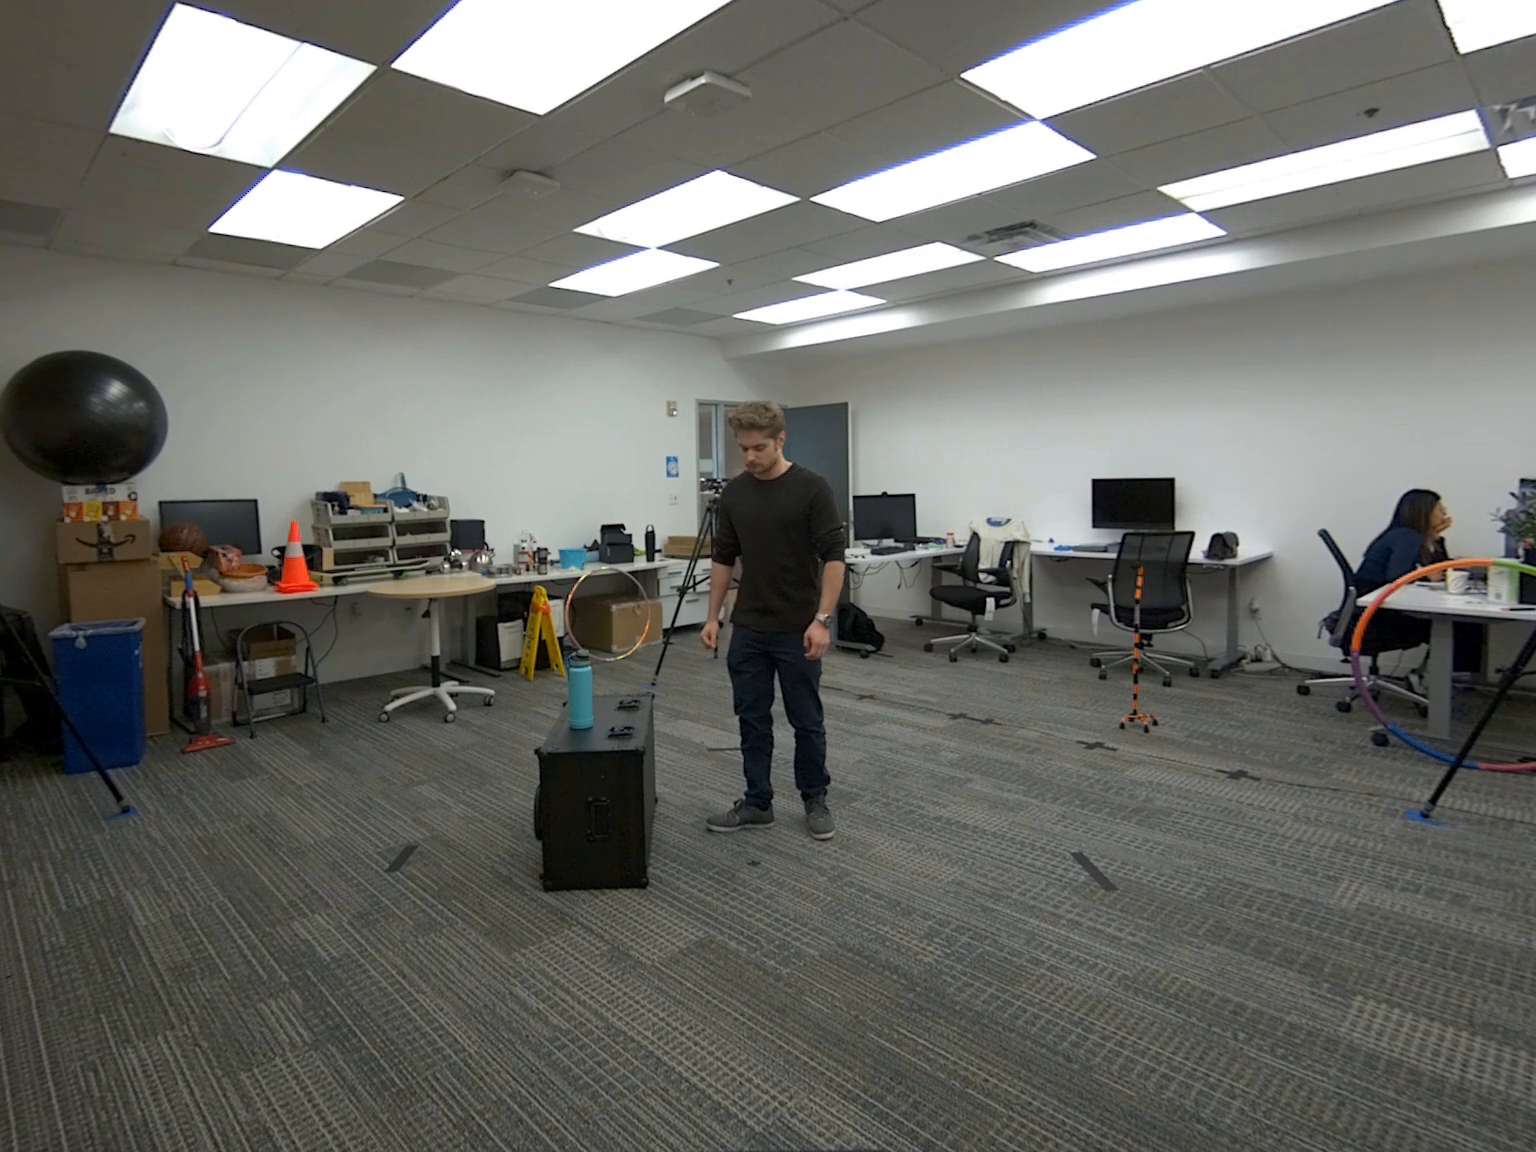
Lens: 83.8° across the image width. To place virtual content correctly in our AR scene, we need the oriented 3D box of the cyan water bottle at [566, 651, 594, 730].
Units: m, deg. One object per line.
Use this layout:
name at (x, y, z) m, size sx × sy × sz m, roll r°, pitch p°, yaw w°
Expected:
cyan water bottle at (-0.705, 0.421, 3.205) m, size 0.092 × 0.282 × 0.093 m, roll -3°, pitch 4°, yaw -1°
